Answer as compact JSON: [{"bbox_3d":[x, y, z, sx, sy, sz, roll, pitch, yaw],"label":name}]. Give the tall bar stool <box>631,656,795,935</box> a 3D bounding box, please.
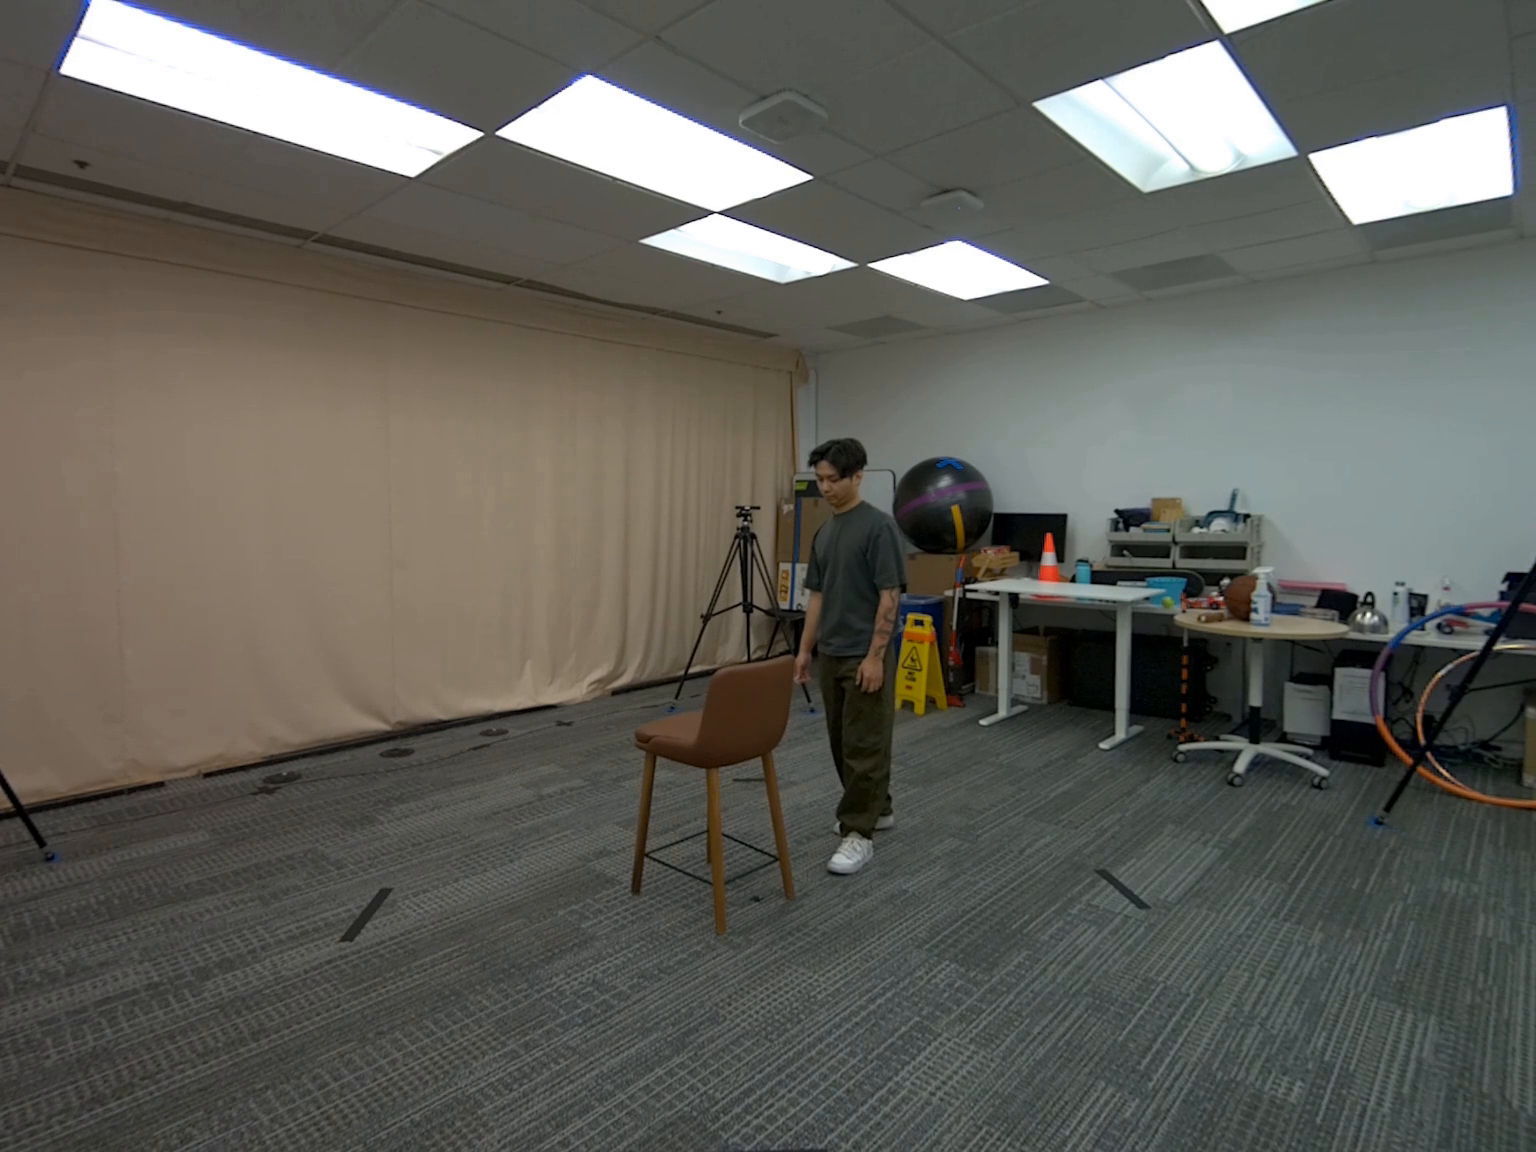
[{"bbox_3d":[-0.190,0.709,2.989,0.483,0.887,0.442,5,6,44],"label":"tall bar stool"}]
